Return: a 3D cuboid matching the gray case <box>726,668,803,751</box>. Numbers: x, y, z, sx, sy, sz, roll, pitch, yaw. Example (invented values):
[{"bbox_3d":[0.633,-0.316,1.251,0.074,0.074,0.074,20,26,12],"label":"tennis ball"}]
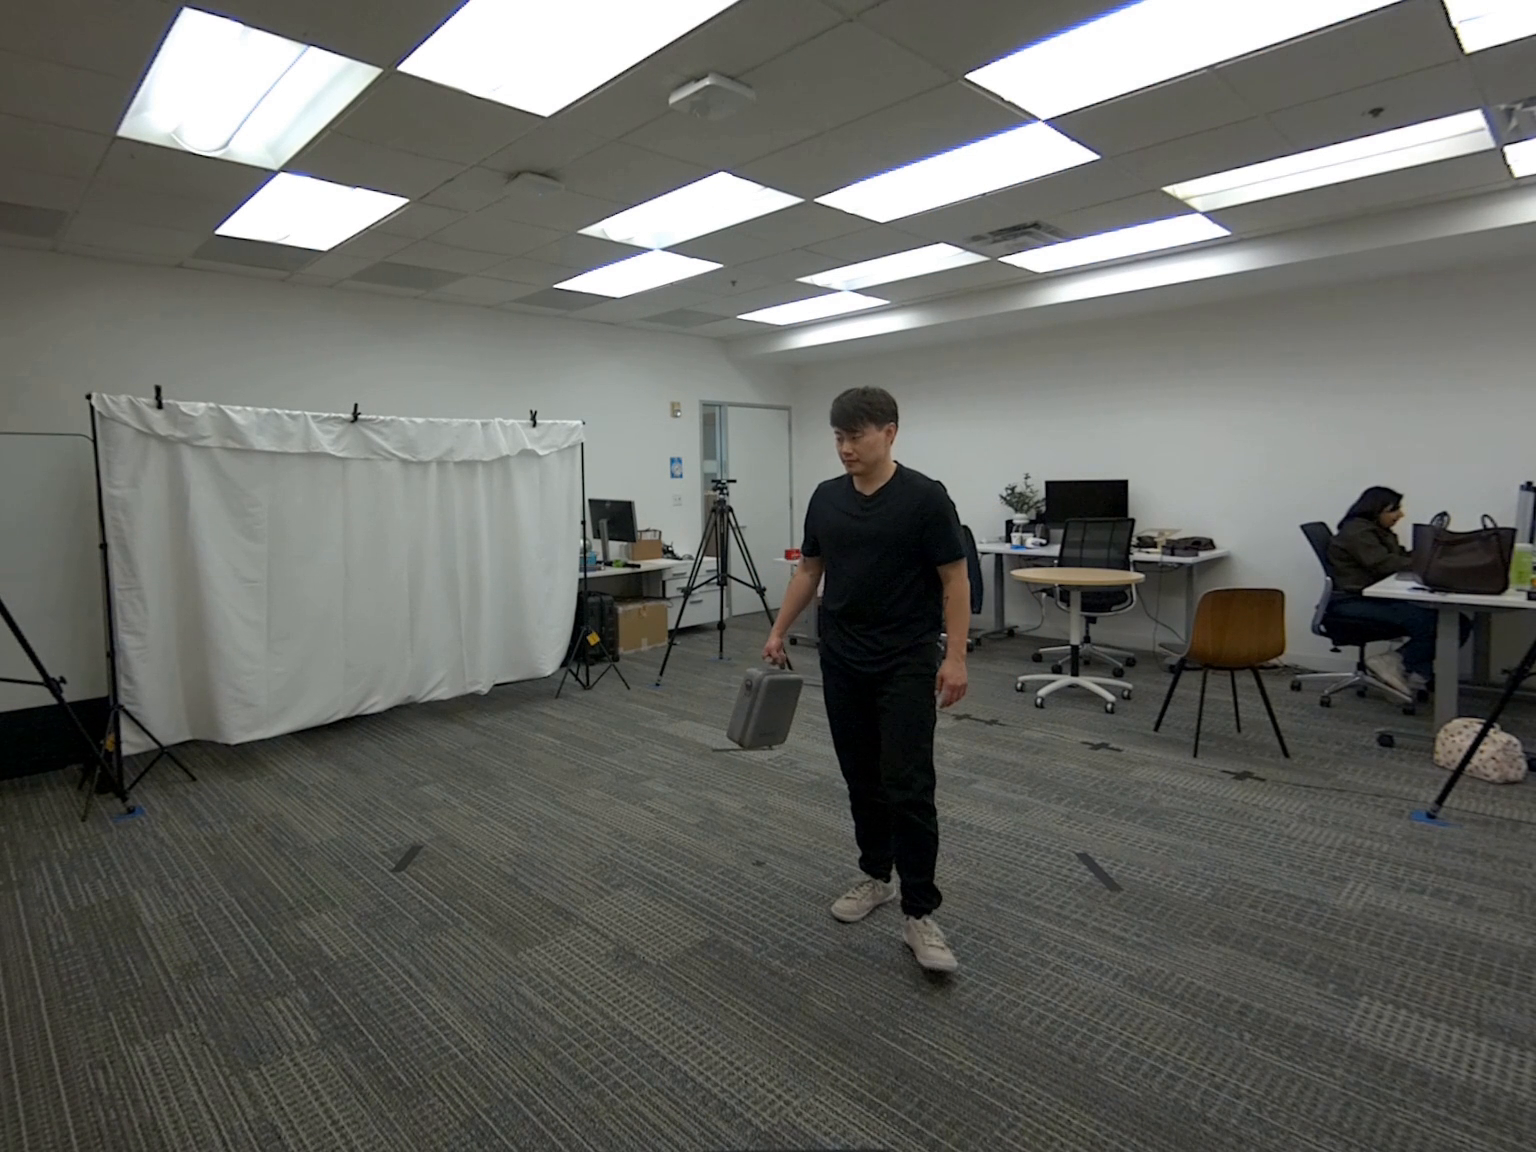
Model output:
[{"bbox_3d":[0.007,0.429,2.843,0.107,0.260,0.249,13,1,32],"label":"gray case"}]
